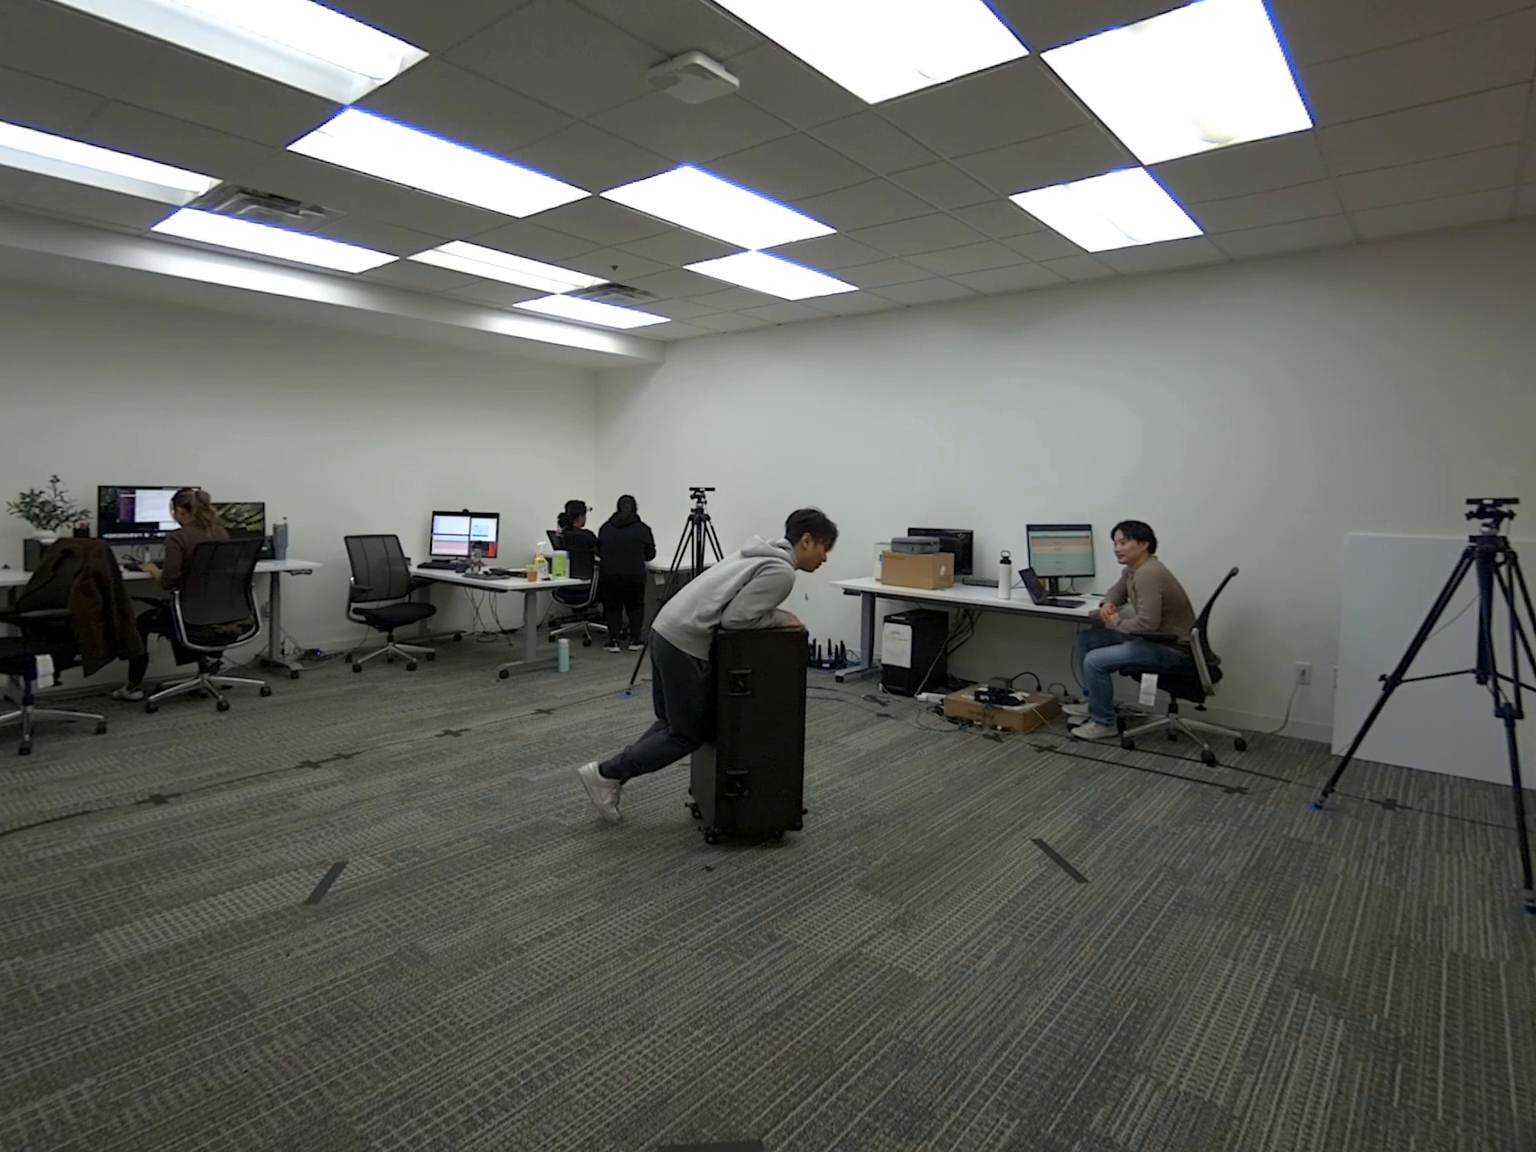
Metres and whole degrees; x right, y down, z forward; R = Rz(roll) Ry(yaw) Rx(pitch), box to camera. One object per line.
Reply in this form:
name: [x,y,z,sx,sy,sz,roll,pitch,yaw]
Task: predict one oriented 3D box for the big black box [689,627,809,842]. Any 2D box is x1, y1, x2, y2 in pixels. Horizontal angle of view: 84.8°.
big black box: [-0.094,0.617,3.489,0.390,0.860,0.531,2,2,-16]
